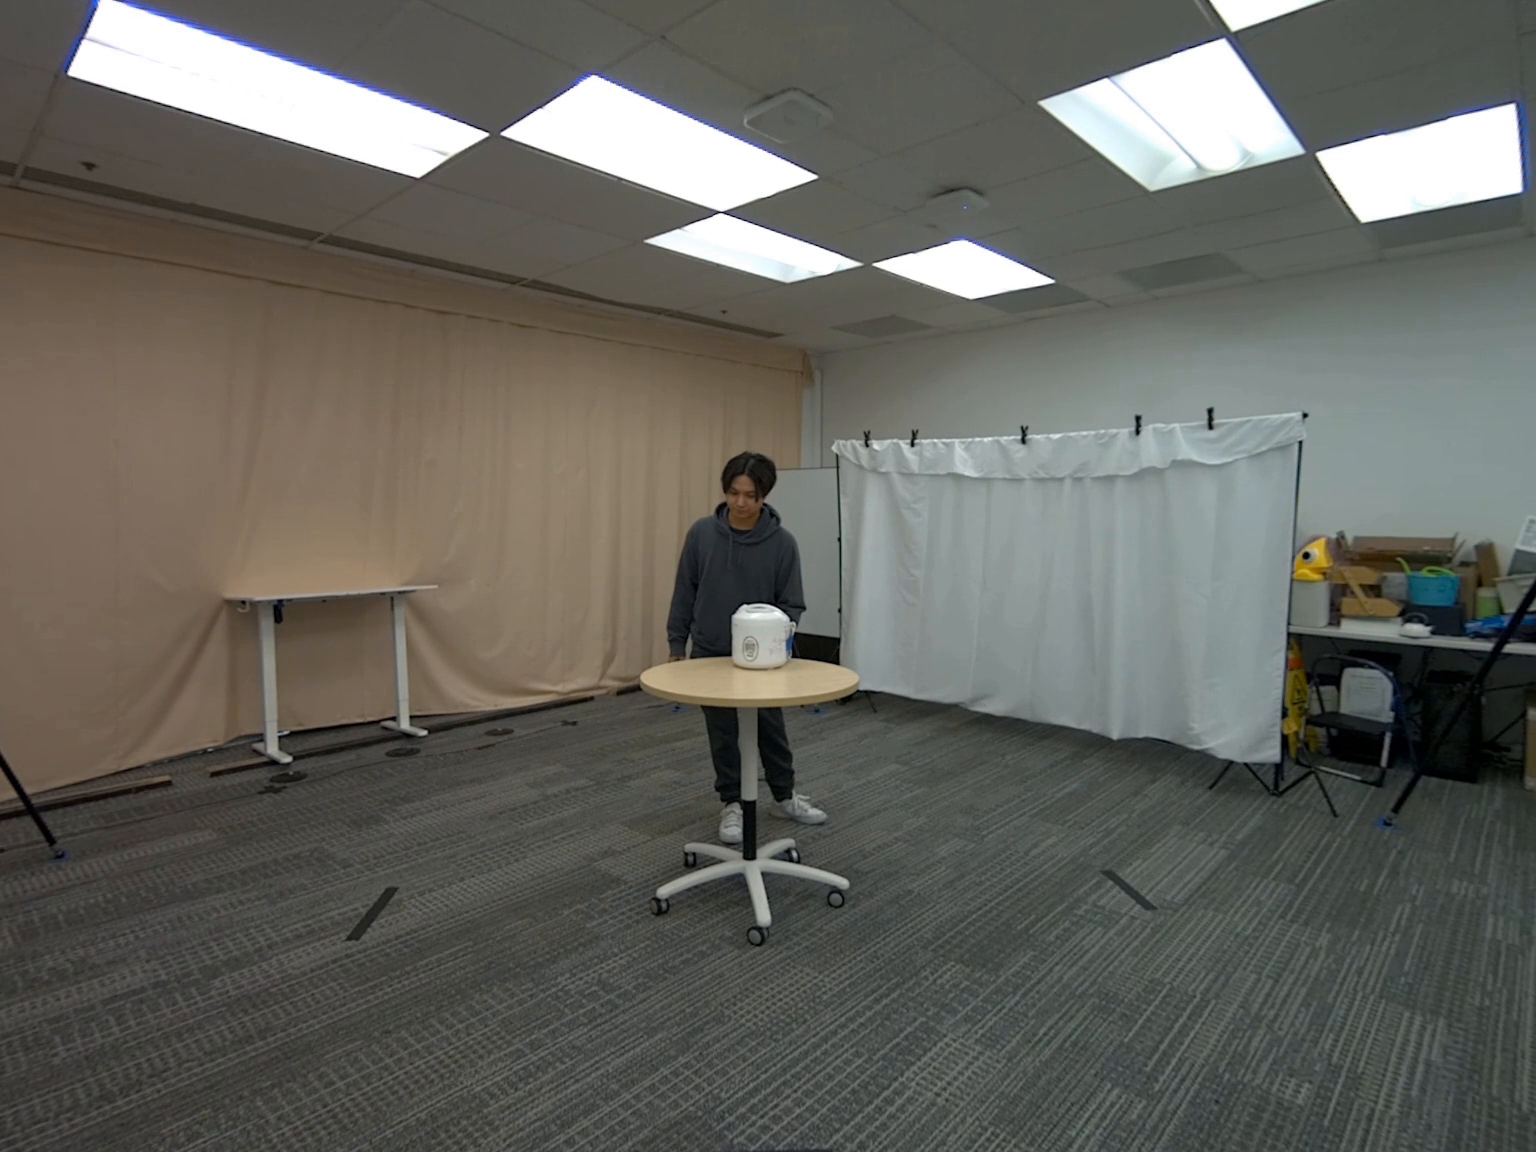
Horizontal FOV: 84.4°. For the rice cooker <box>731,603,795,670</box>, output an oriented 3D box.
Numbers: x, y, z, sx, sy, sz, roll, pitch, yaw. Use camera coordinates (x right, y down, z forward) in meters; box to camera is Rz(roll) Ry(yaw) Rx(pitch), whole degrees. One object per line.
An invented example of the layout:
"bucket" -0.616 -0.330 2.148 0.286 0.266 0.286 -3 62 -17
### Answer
"rice cooker" -0.031 0.219 3.137 0.225 0.232 0.213 0 2 21
